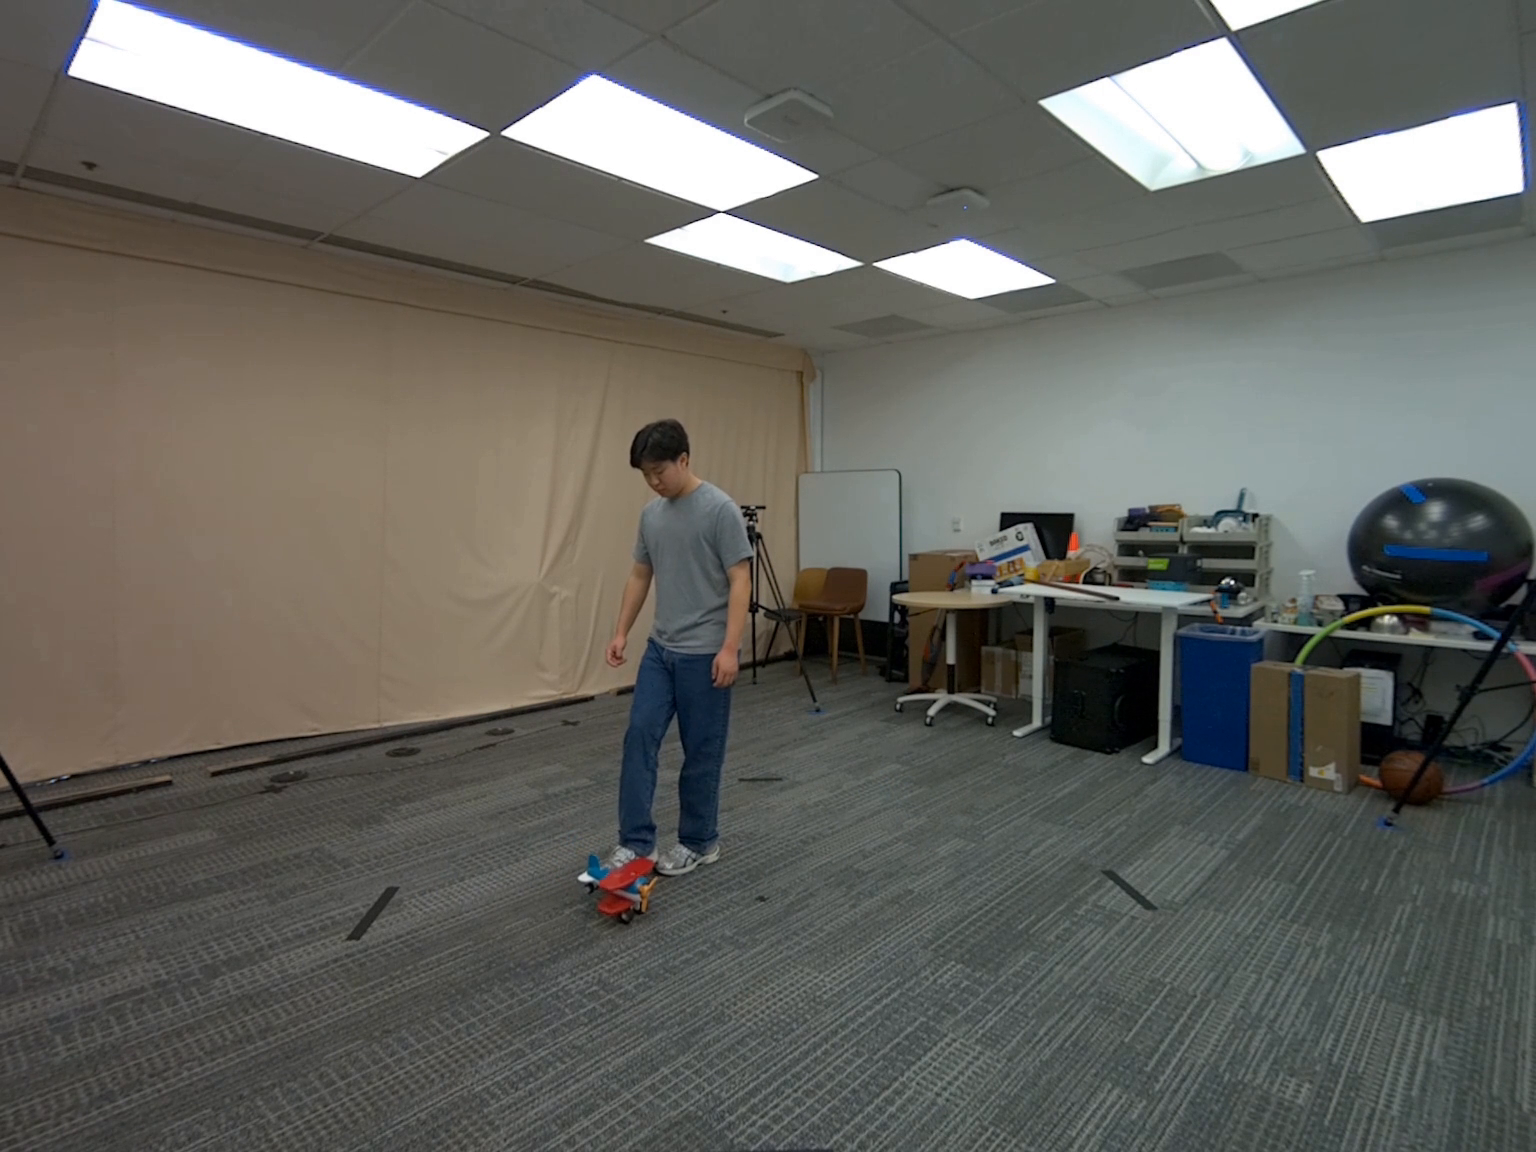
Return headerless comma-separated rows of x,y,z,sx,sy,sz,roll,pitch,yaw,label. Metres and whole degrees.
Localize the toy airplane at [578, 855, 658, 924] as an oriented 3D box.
-0.520,1.063,2.860,0.259,0.156,0.252,15,12,-2,toy airplane
